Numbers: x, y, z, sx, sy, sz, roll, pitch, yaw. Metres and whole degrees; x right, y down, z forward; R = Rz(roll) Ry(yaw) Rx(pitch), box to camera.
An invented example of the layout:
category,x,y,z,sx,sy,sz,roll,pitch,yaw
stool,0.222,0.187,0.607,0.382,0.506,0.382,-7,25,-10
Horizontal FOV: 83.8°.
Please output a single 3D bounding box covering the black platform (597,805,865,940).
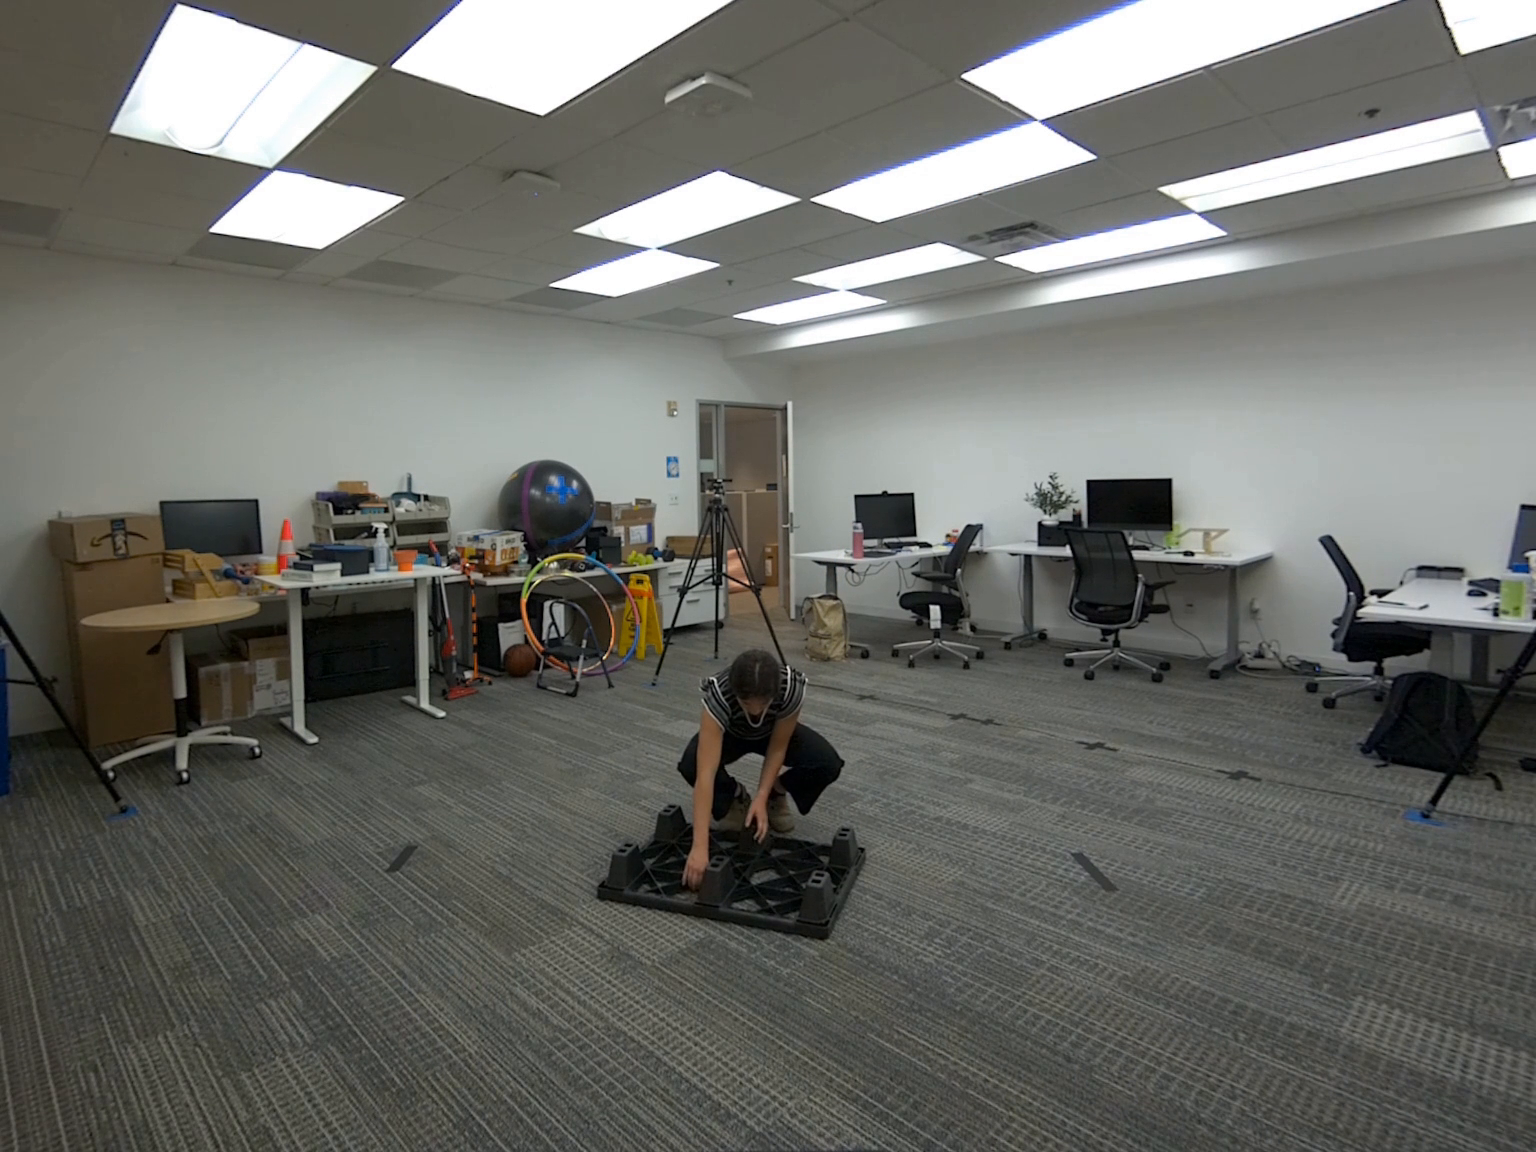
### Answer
category,x,y,z,sx,sy,sz,roll,pitch,yaw
black platform,-0.104,0.992,2.994,0.821,0.142,0.597,2,7,19
